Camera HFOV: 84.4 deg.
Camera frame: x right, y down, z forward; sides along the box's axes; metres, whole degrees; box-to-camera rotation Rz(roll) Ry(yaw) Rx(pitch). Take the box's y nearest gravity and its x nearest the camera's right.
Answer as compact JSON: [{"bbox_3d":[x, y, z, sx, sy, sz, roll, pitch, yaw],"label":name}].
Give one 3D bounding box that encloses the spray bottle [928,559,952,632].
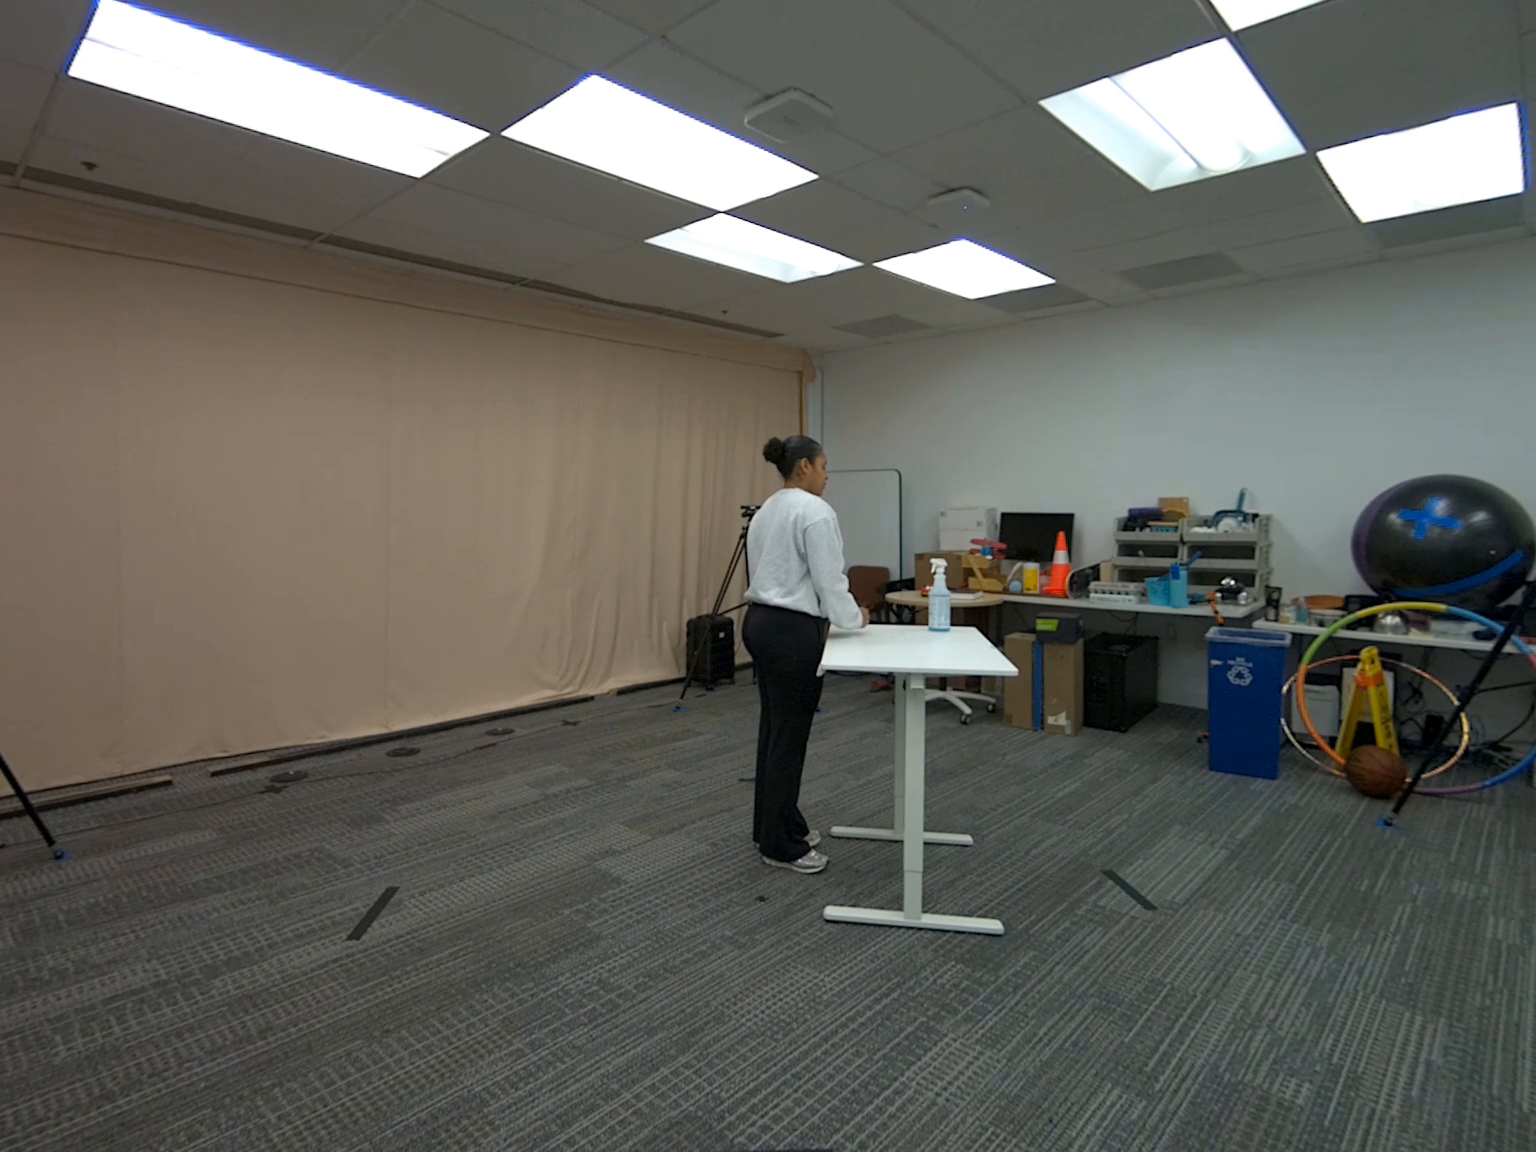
[{"bbox_3d":[0.710,0.078,3.446,0.089,0.296,0.088,-2,4,-11],"label":"spray bottle"}]
